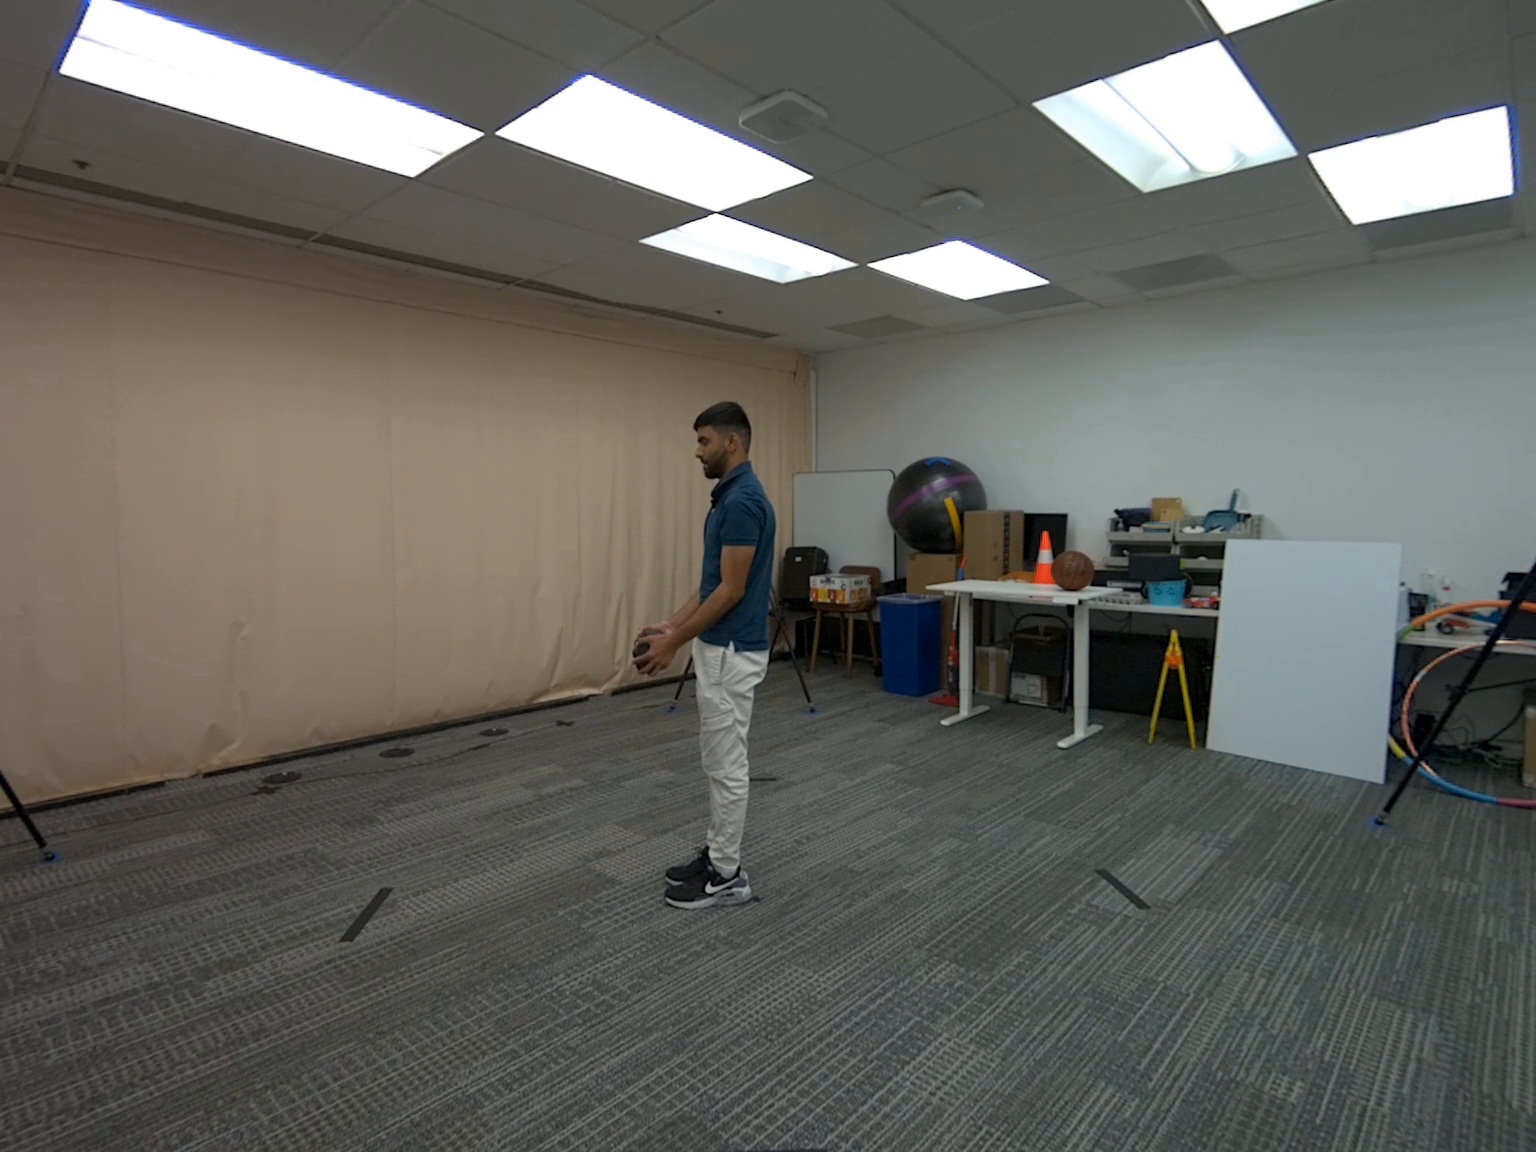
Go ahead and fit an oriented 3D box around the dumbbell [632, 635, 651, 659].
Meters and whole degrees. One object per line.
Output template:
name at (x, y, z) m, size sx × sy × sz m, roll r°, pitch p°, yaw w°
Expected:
dumbbell at (-0.361, 0.256, 2.984) m, size 0.109 × 0.123 × 0.292 m, roll -23°, pitch 2°, yaw 4°
